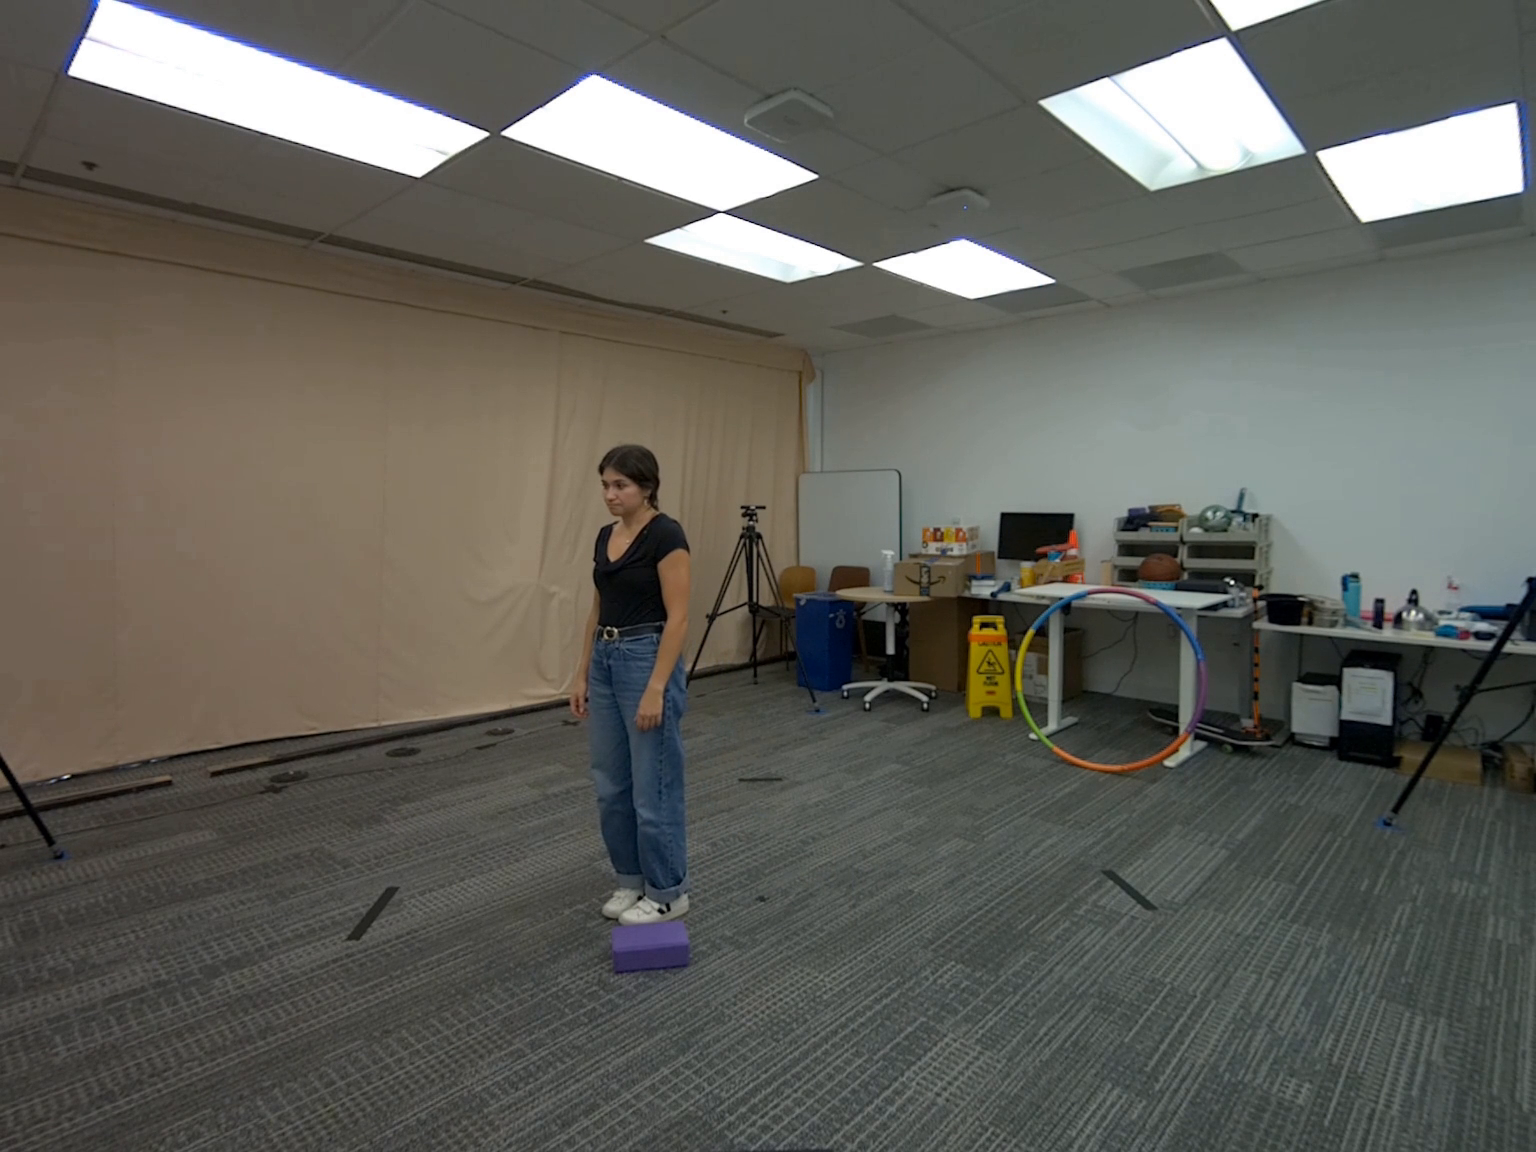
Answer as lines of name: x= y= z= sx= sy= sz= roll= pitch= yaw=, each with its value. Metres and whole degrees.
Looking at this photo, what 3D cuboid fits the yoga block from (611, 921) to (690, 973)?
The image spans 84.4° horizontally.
yoga block: x=-0.363 y=1.134 z=2.591 sx=0.227 sy=0.076 sz=0.151 roll=0 pitch=4 yaw=-11
